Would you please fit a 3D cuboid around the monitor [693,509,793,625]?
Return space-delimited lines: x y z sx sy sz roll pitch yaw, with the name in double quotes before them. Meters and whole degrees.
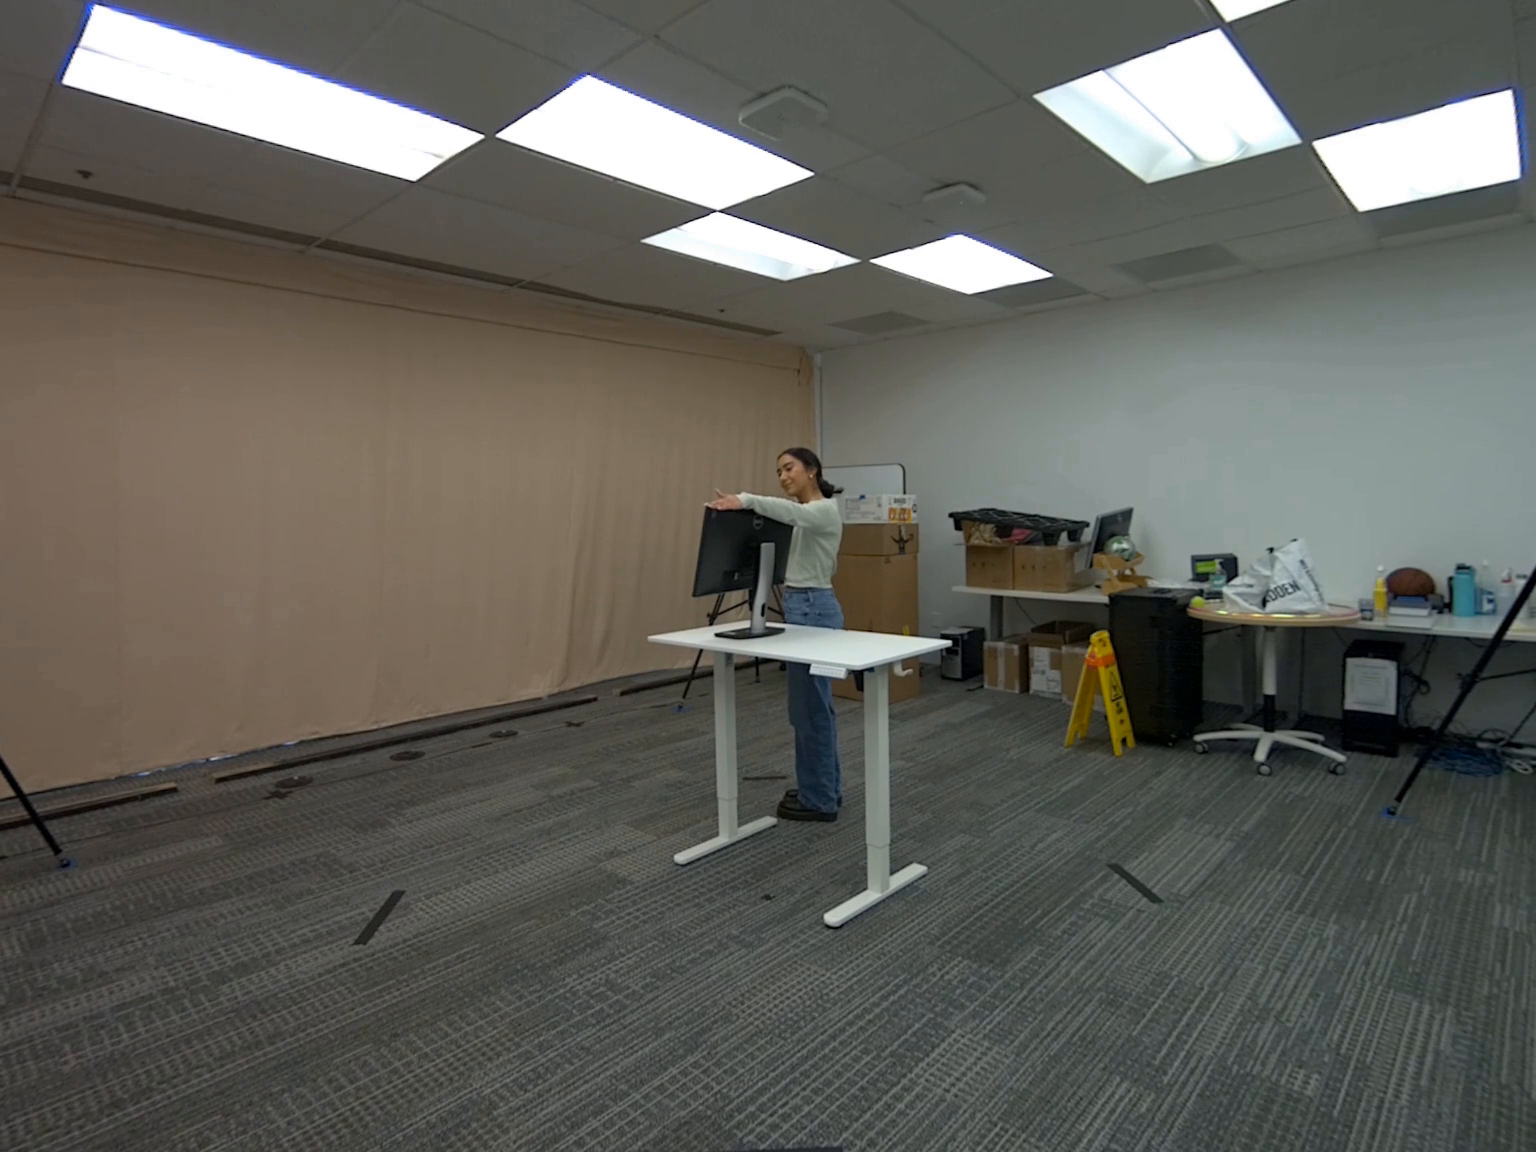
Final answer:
"monitor" -0.060 -0.020 3.305 0.193 0.521 0.523 5 6 39
